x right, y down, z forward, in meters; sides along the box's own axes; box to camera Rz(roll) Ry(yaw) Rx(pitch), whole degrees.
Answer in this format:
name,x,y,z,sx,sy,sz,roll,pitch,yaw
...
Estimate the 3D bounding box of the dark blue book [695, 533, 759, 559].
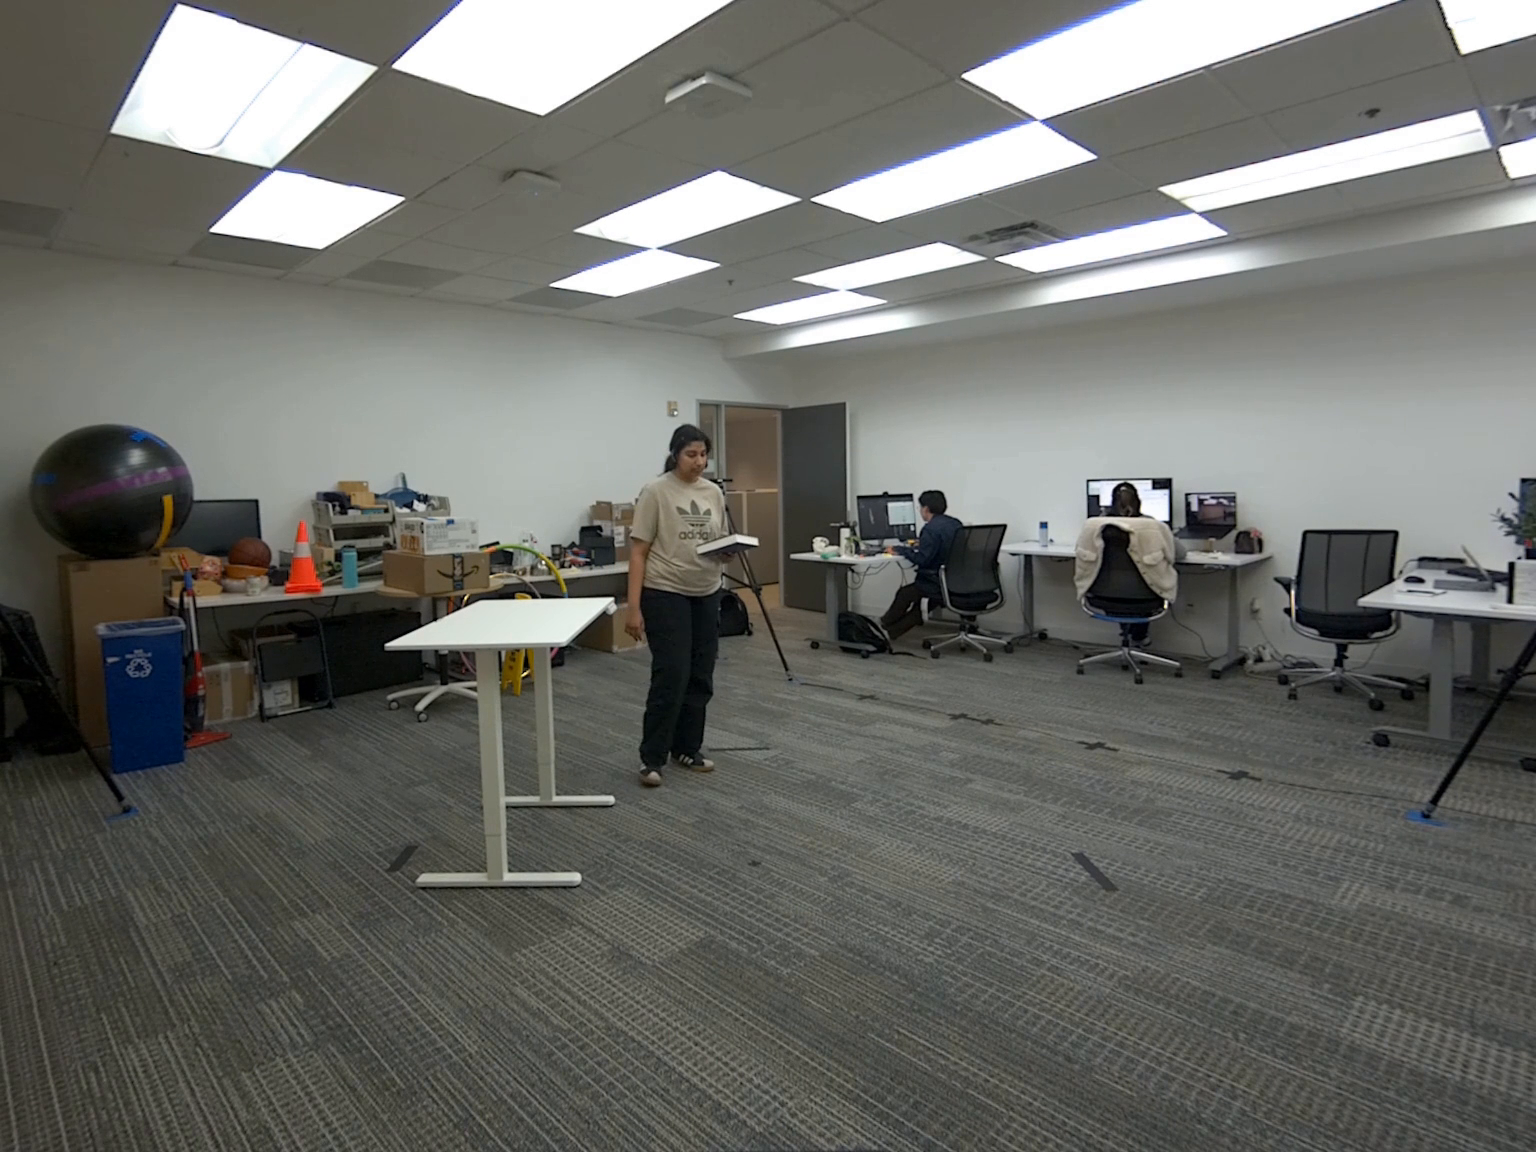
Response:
name,x,y,z,sx,sy,sz,roll,pitch,yaw
dark blue book,-0.186,-0.136,3.876,0.250,0.046,0.158,-16,-14,39
